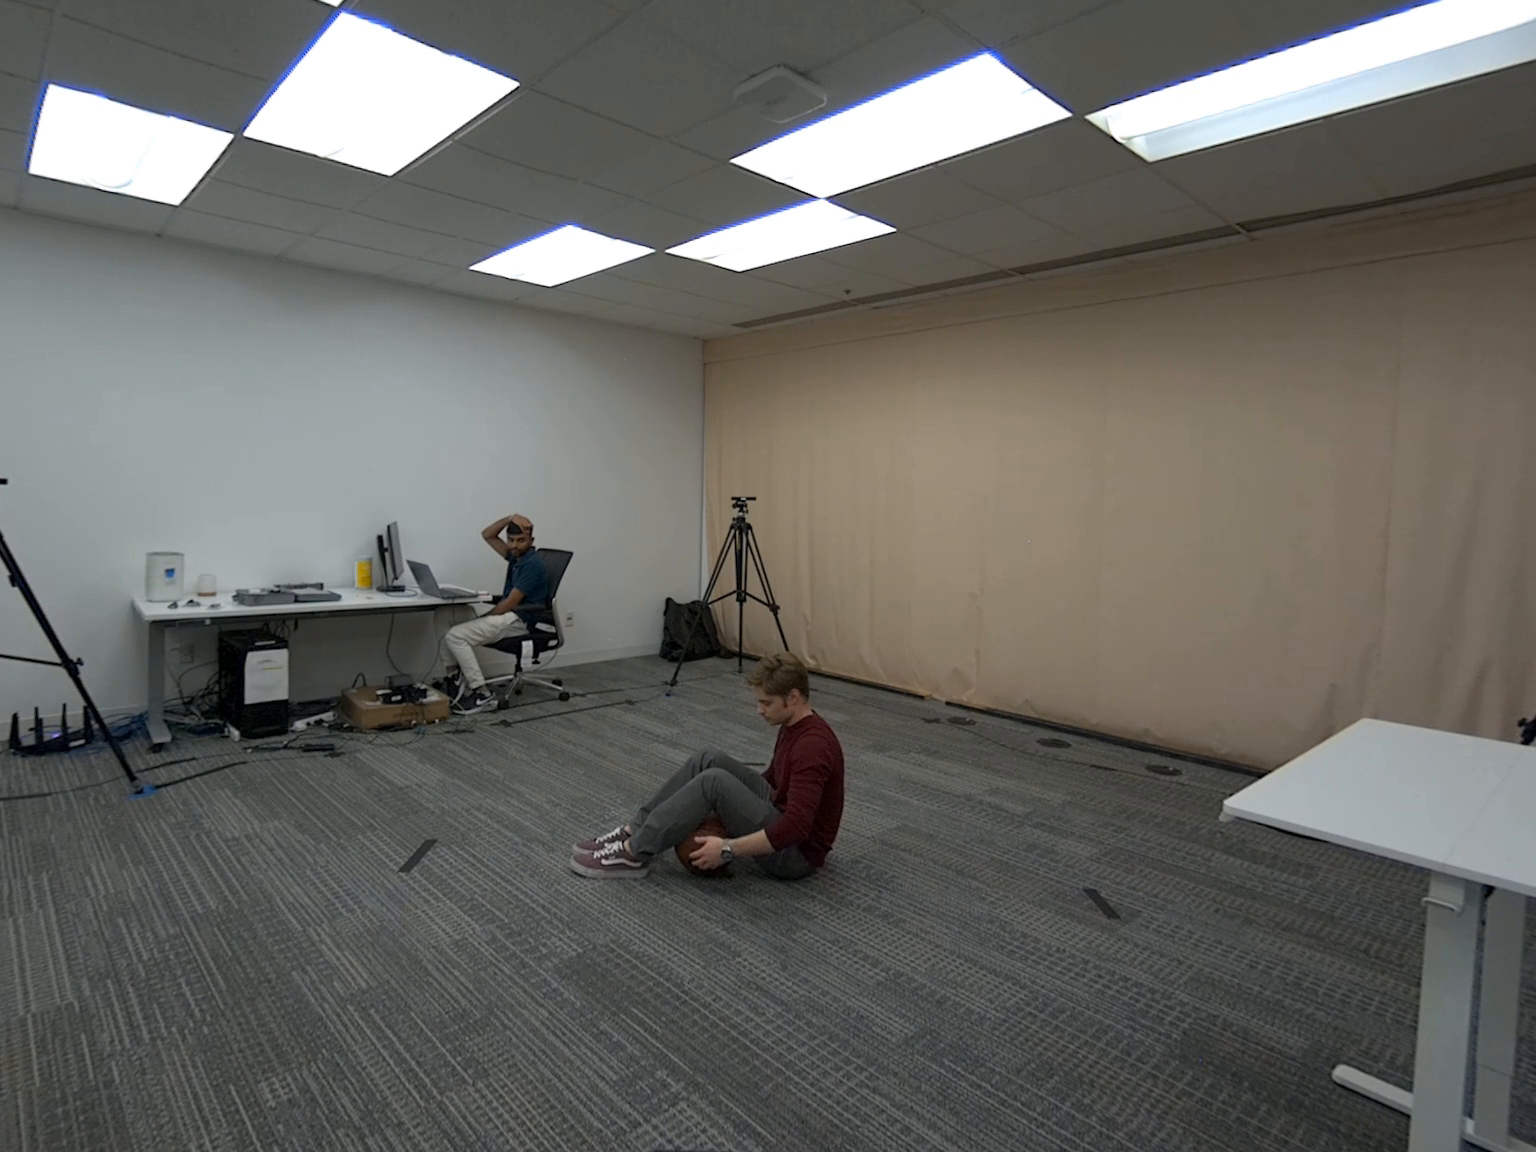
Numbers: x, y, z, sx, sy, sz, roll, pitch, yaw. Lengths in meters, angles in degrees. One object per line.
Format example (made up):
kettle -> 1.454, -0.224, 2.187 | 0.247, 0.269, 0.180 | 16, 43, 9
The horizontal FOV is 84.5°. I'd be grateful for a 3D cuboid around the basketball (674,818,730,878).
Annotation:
basketball -> -0.232, 0.983, 3.115 | 0.236, 0.235, 0.237 | 1, 4, -1
